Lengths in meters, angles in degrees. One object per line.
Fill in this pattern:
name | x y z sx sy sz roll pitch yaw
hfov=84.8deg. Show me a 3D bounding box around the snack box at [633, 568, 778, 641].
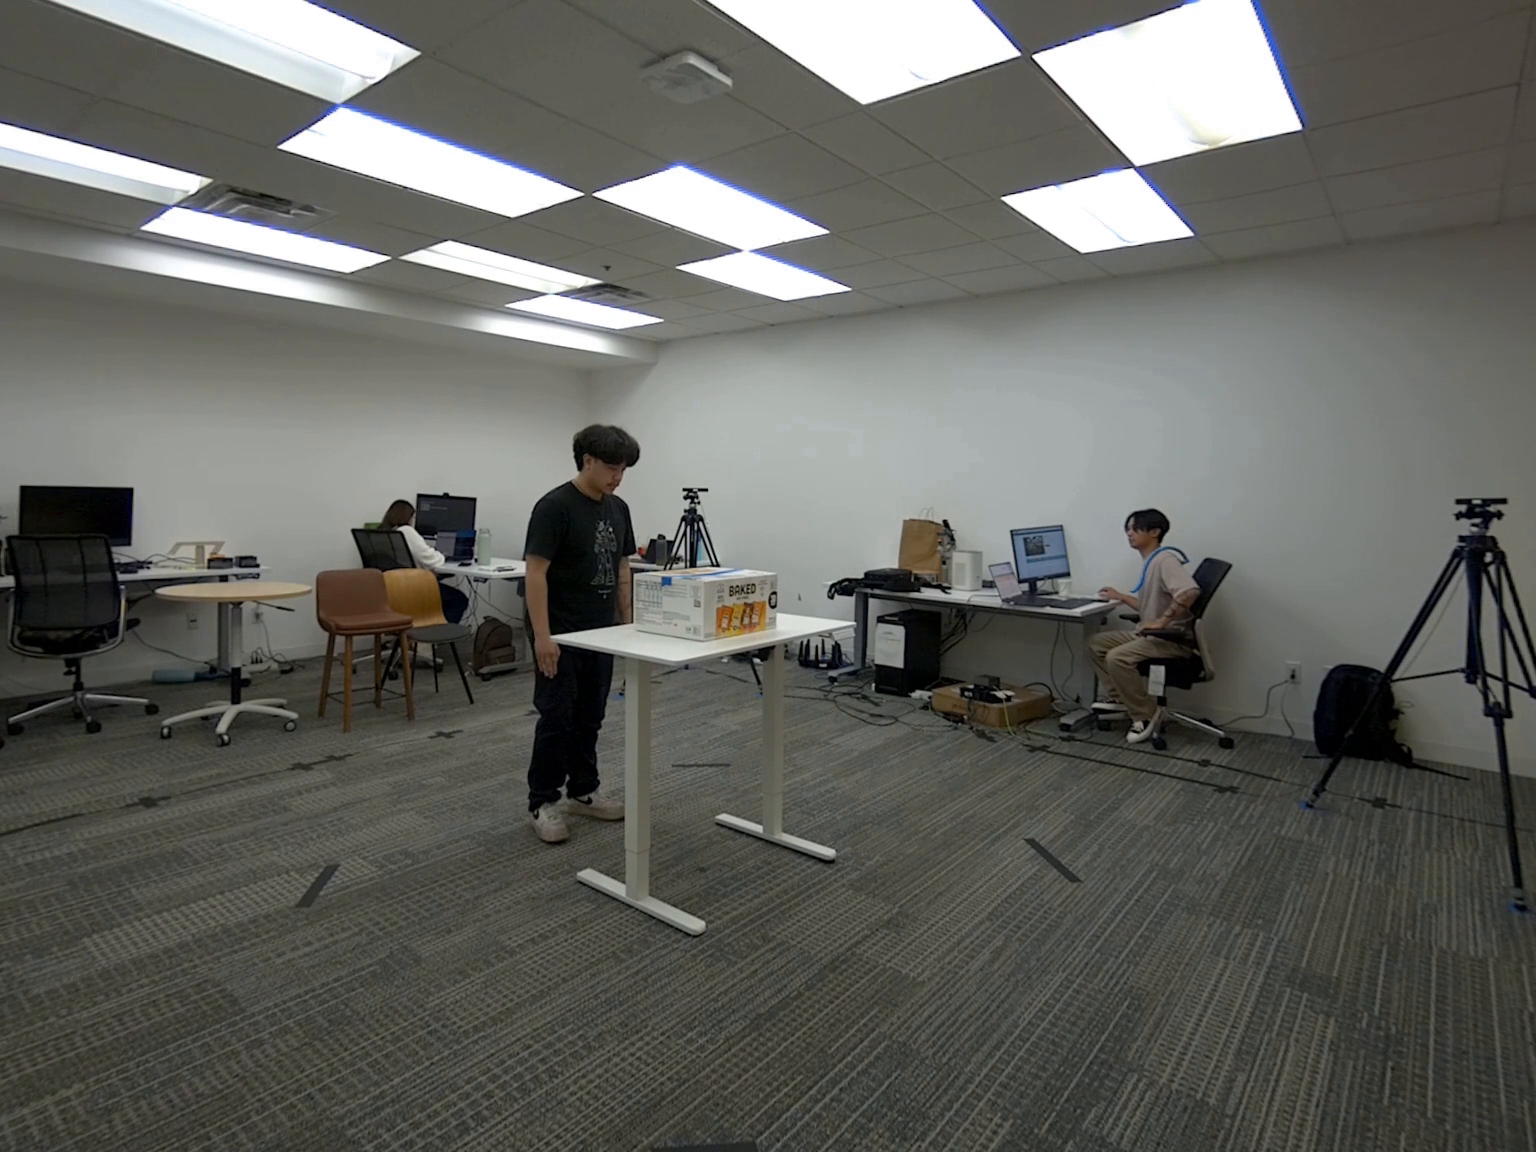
snack box | -0.232 0.089 3.059 0.351 0.205 0.393 4 6 39
